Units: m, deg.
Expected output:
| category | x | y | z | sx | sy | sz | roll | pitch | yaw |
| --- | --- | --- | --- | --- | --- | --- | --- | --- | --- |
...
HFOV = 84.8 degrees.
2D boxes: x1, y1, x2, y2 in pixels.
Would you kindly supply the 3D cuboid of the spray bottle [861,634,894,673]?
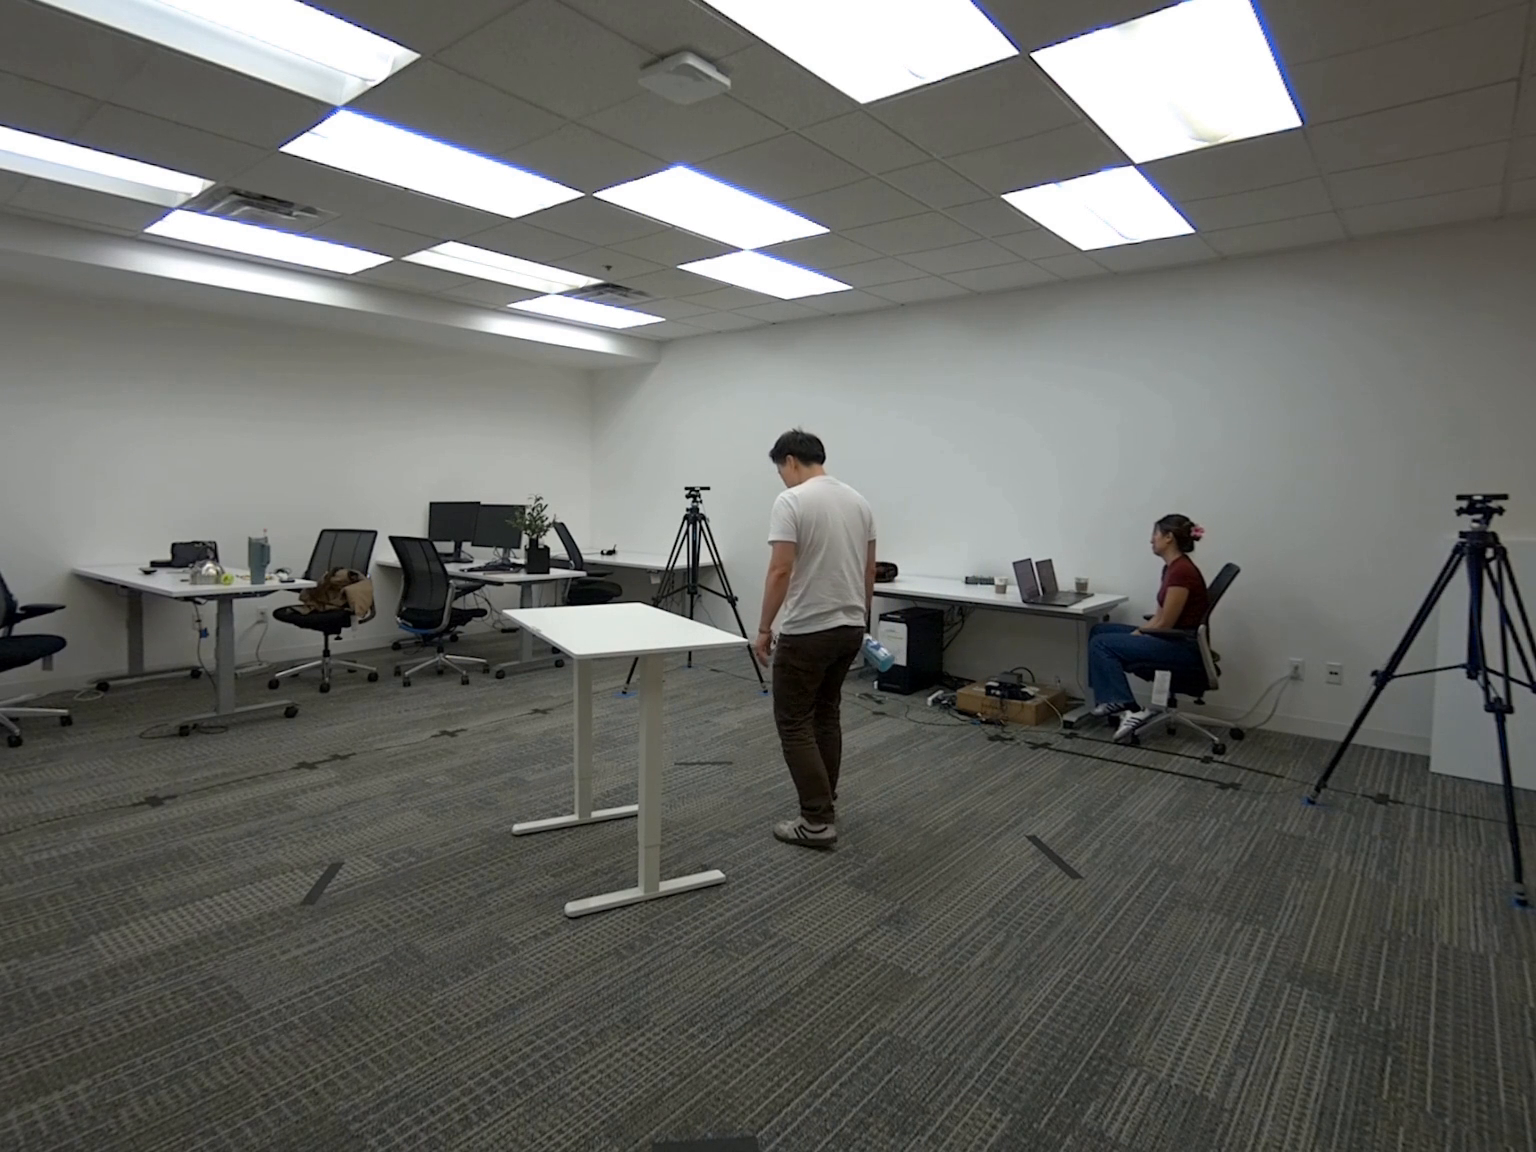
| category | x | y | z | sx | sy | sz | roll | pitch | yaw |
| --- | --- | --- | --- | --- | --- | --- | --- | --- | --- |
| spray bottle | 0.399 | 0.283 | 3.665 | 0.309 | 0.086 | 0.087 | 42 | 19 | 33 |
